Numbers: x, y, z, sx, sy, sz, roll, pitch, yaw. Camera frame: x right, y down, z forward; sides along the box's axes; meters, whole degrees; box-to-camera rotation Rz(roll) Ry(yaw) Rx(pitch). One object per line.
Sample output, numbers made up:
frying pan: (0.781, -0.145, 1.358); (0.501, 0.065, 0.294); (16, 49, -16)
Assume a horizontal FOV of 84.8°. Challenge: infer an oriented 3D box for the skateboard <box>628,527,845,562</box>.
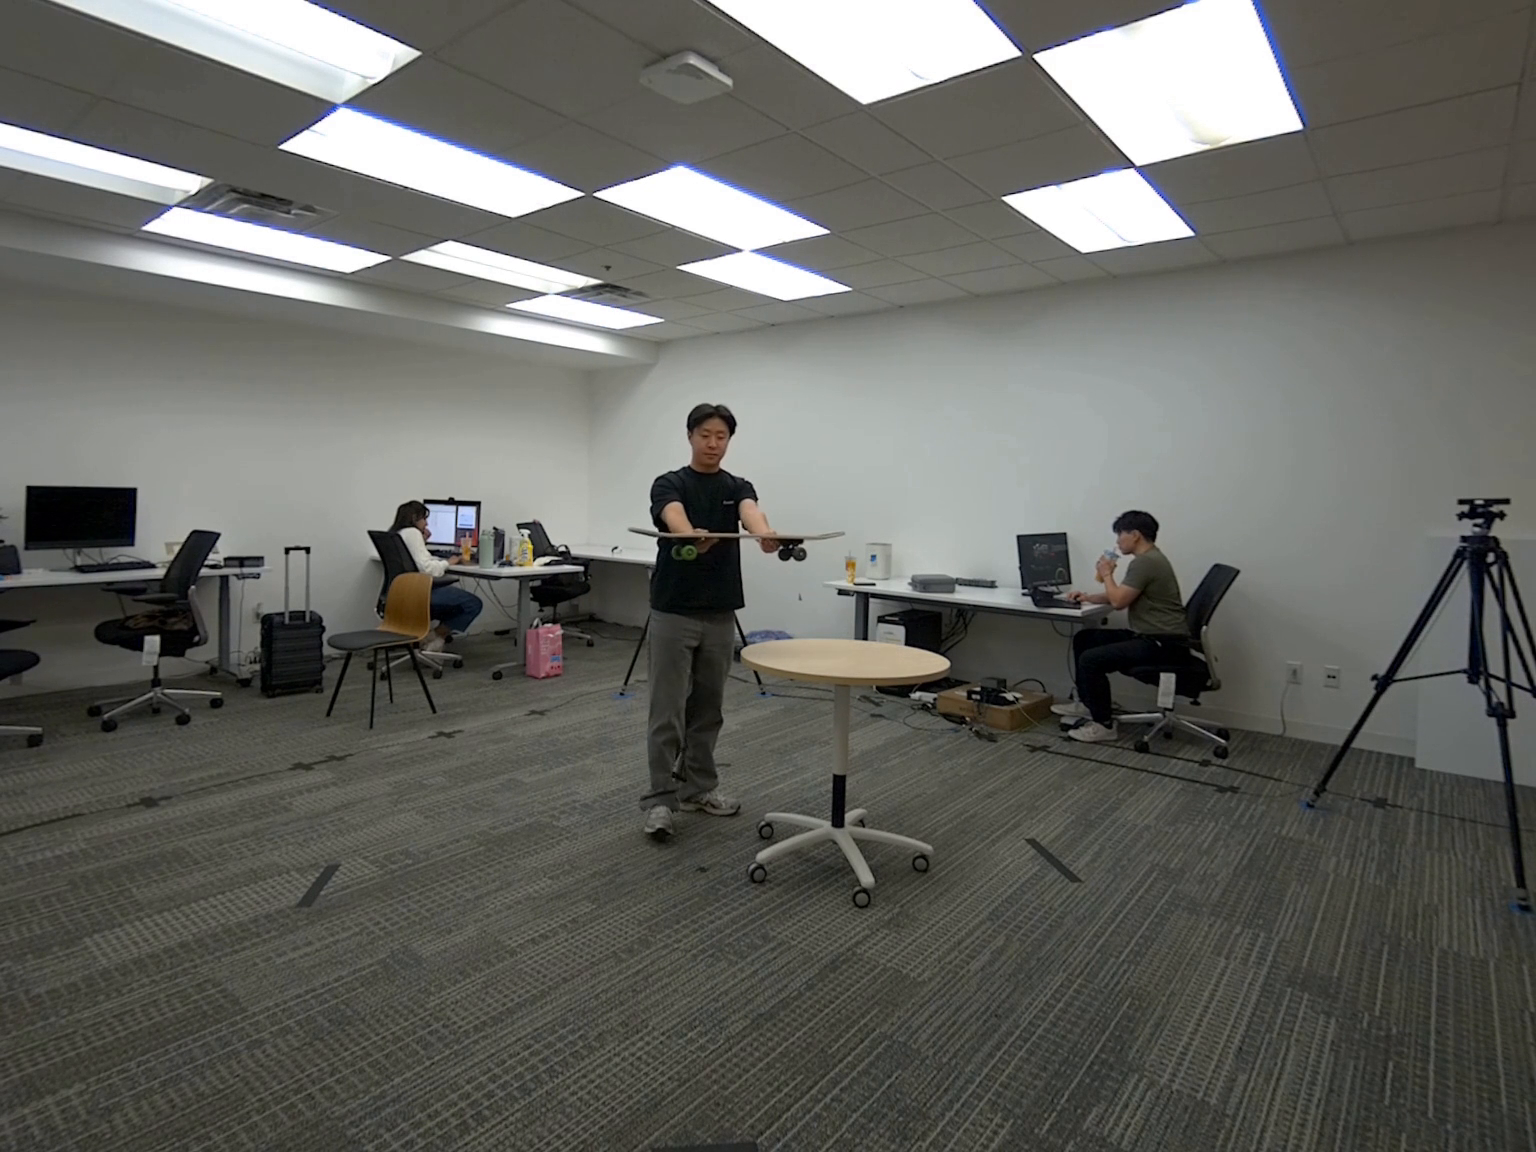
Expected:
skateboard: (-0.094, -0.105, 3.005); (0.771, 0.110, 0.197); (1, 1, -17)
